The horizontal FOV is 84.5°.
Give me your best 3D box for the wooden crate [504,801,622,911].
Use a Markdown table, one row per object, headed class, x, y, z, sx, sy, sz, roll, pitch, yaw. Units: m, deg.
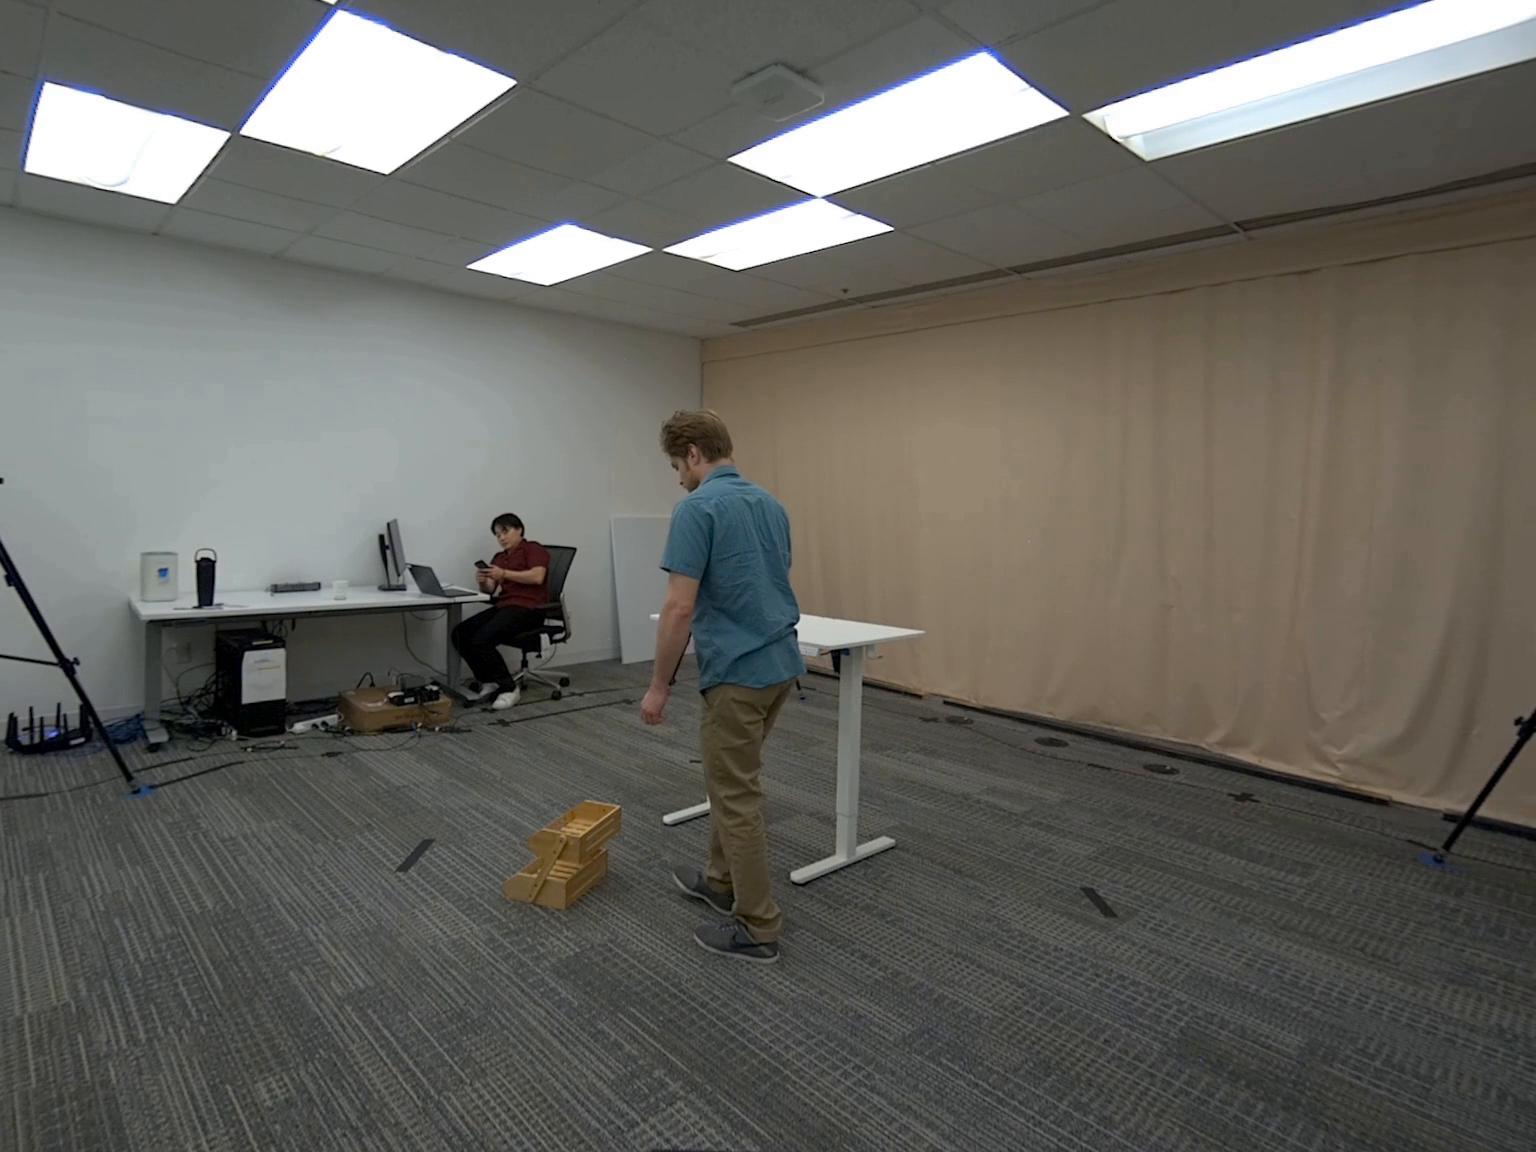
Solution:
| class | x | y | z | sx | sy | sz | roll | pitch | yaw |
| --- | --- | --- | --- | --- | --- | --- | --- | --- | --- |
| wooden crate | -0.740 | 0.973 | 2.981 | 0.306 | 0.272 | 0.321 | 3 | 5 | 18 |
